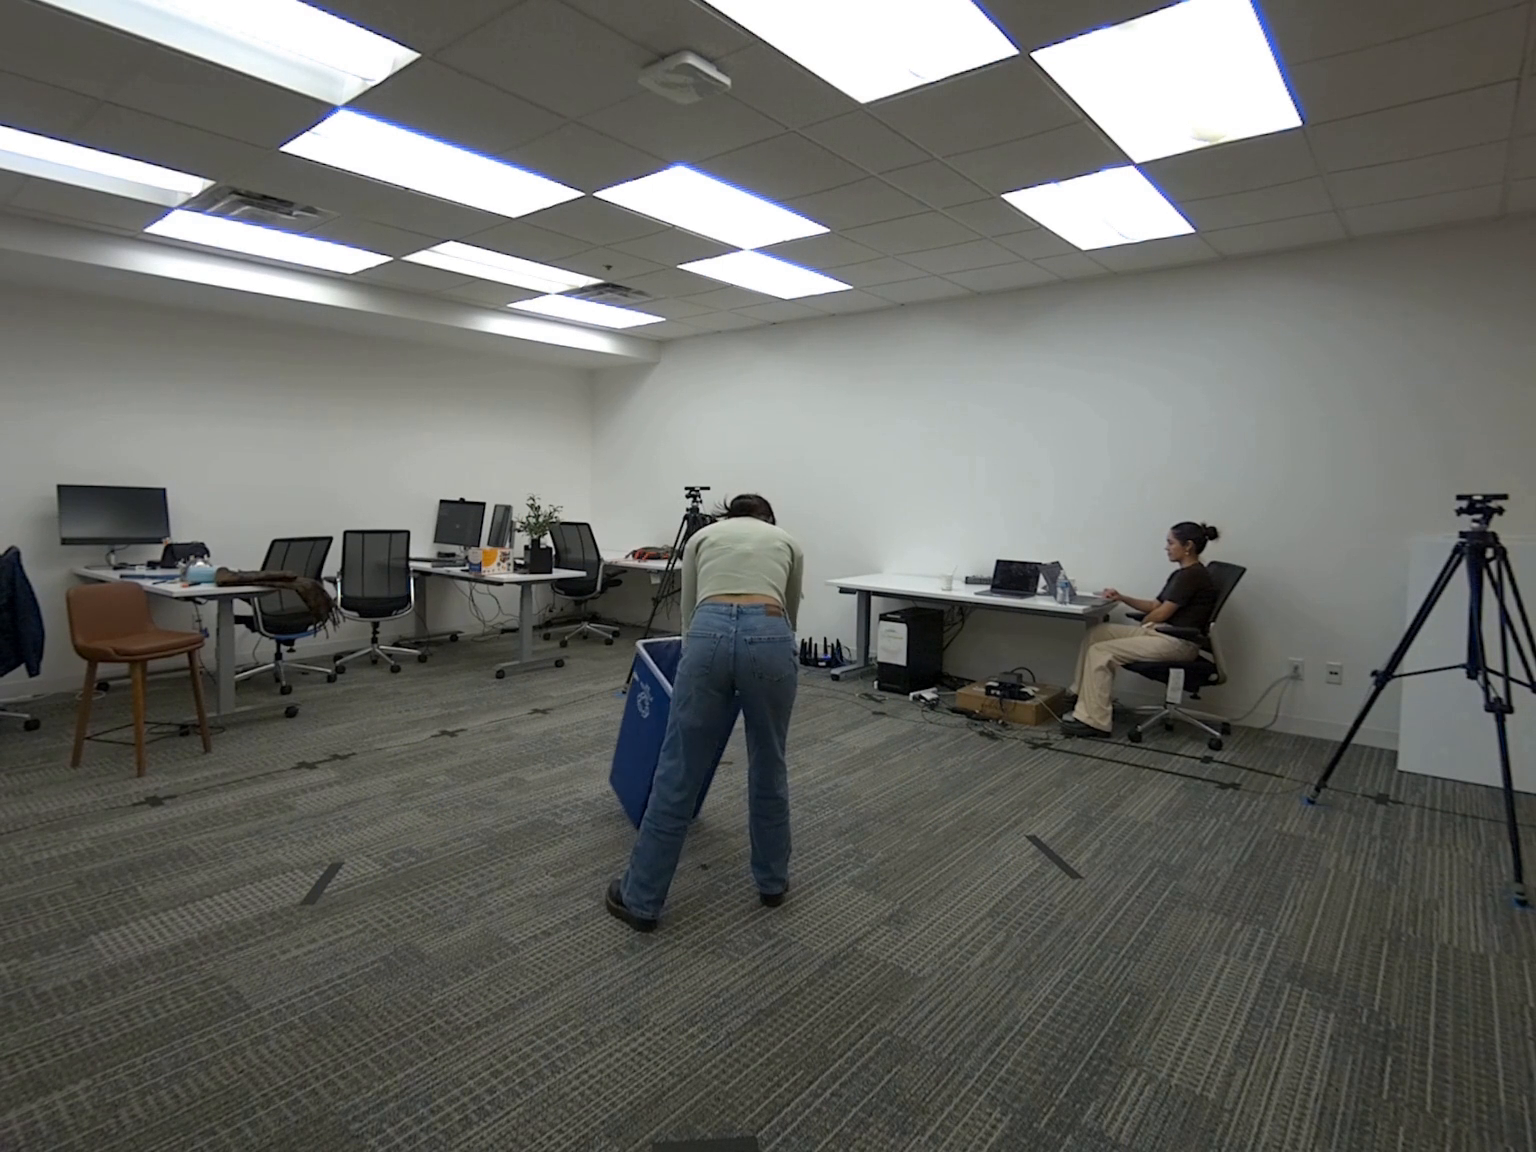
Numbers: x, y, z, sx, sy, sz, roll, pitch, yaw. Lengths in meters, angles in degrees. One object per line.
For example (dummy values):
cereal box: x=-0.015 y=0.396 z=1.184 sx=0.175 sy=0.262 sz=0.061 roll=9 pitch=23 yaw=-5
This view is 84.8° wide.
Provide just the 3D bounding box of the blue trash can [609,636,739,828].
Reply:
blue trash can: x=-0.382 y=0.644 z=3.454 sx=0.367 sy=0.703 sz=0.390 roll=-3 pitch=32 yaw=-37
